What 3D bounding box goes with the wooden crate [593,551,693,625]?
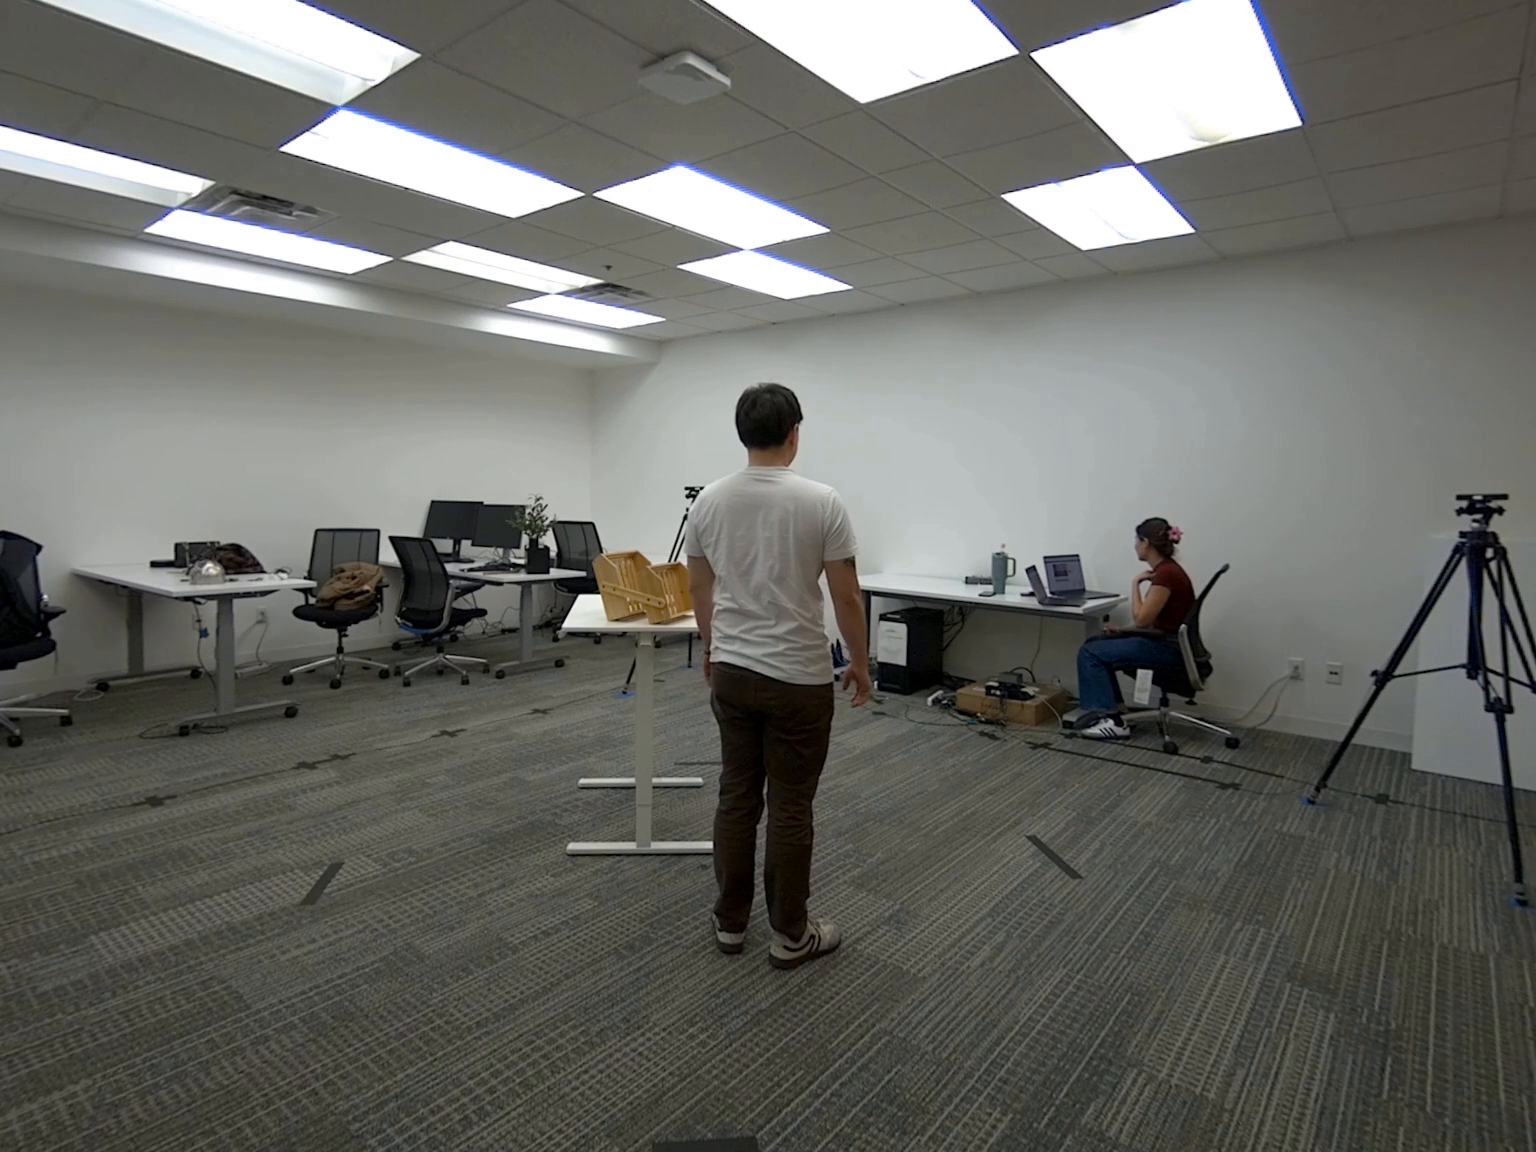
[{"bbox_3d":[-0.473,0.026,3.300,0.277,0.303,0.319,-16,-2,20],"label":"wooden crate"}]
